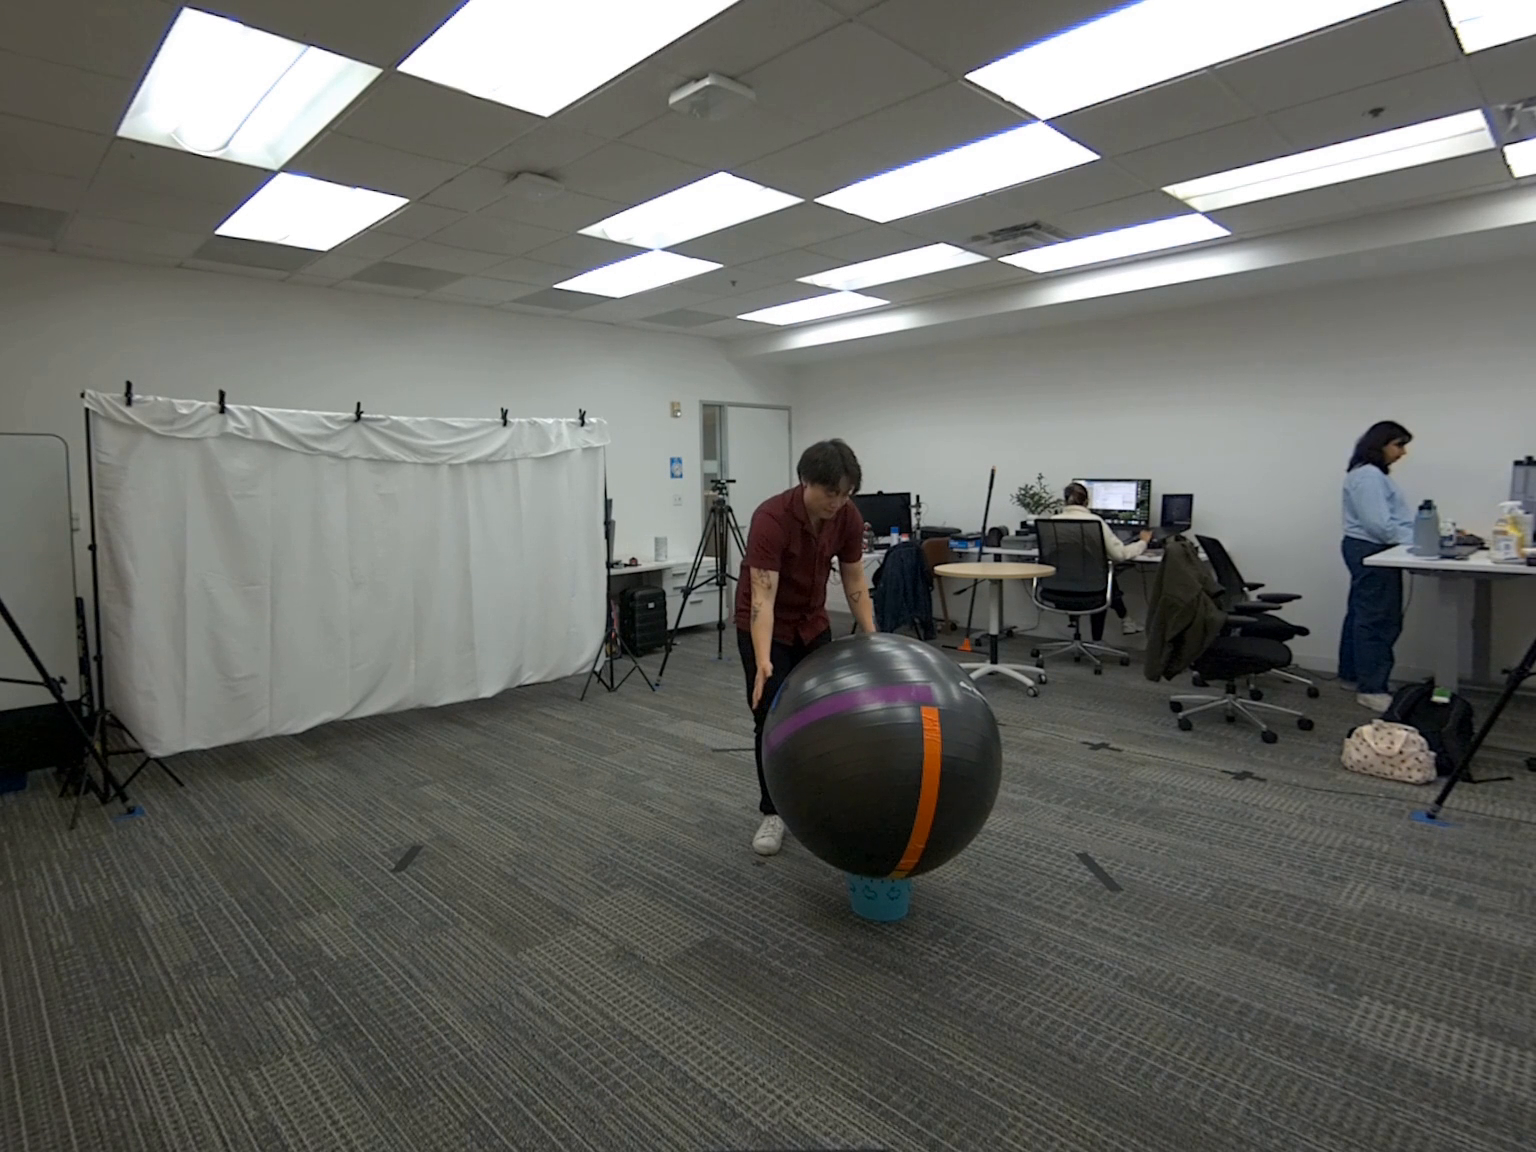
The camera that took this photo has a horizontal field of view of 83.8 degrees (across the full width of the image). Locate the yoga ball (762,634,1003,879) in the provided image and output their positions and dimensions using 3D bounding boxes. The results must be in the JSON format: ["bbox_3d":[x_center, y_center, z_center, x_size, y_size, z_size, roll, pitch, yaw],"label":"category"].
[{"bbox_3d":[0.363,0.574,2.741,0.757,0.755,0.762,-1,5,-2],"label":"yoga ball"}]
